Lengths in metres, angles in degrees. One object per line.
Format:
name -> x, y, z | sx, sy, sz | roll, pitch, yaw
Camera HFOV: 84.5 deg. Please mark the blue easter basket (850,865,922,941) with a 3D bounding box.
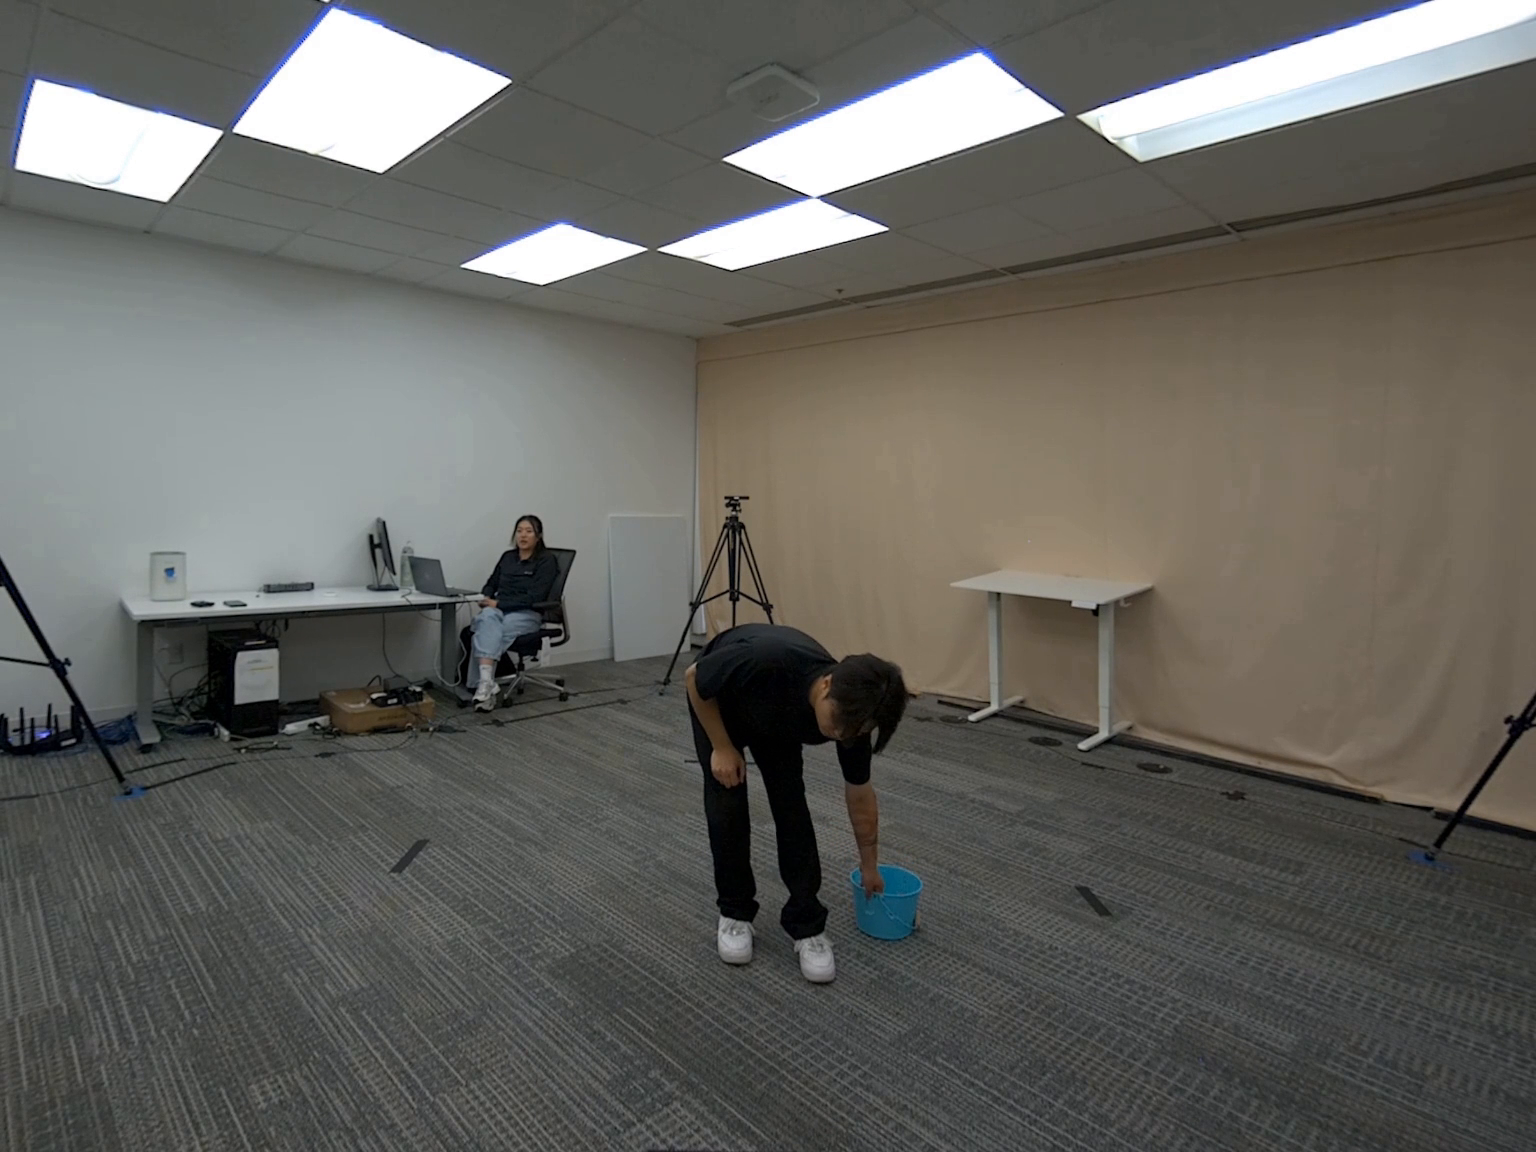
blue easter basket -> 0.371, 1.068, 2.756 | 0.243, 0.155, 0.244 | 2, 4, -1
